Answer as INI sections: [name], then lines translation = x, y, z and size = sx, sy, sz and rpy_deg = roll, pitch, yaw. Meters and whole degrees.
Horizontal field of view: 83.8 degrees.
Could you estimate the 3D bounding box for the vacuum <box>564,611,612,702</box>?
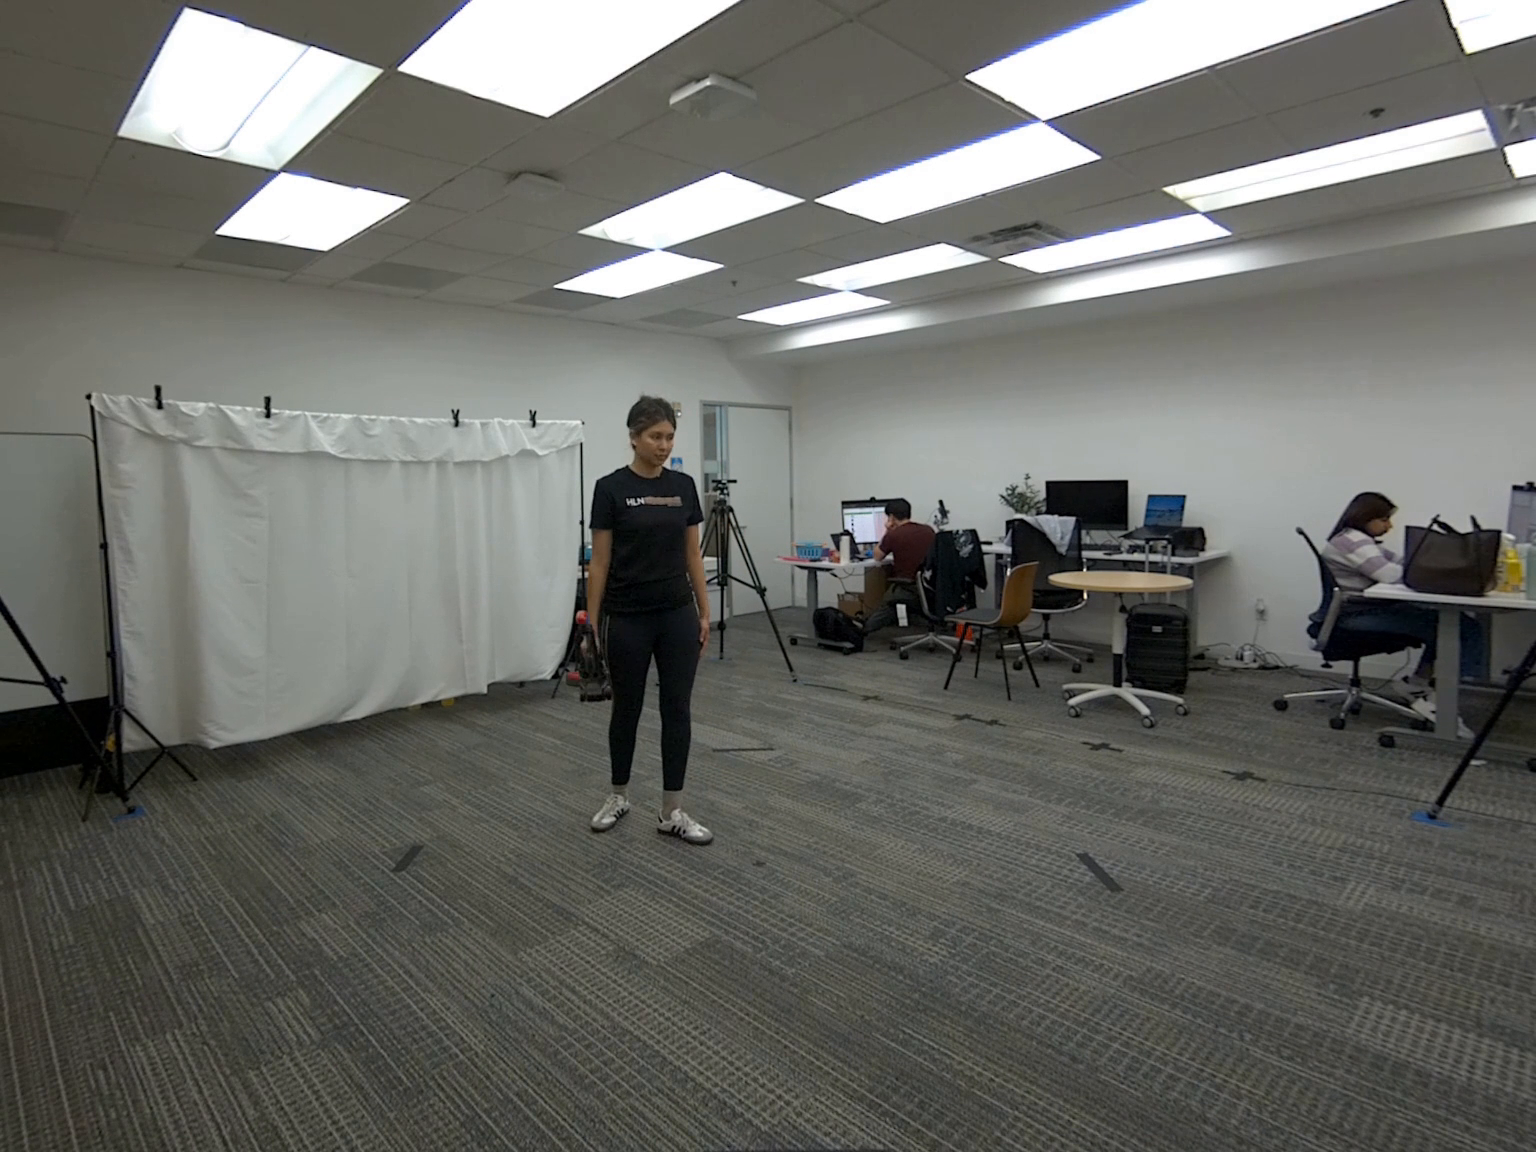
[vacuum]
translation = -0.677, 0.313, 3.177
size = 0.251, 0.146, 1.037
rpy_deg = 4, -20, -7
